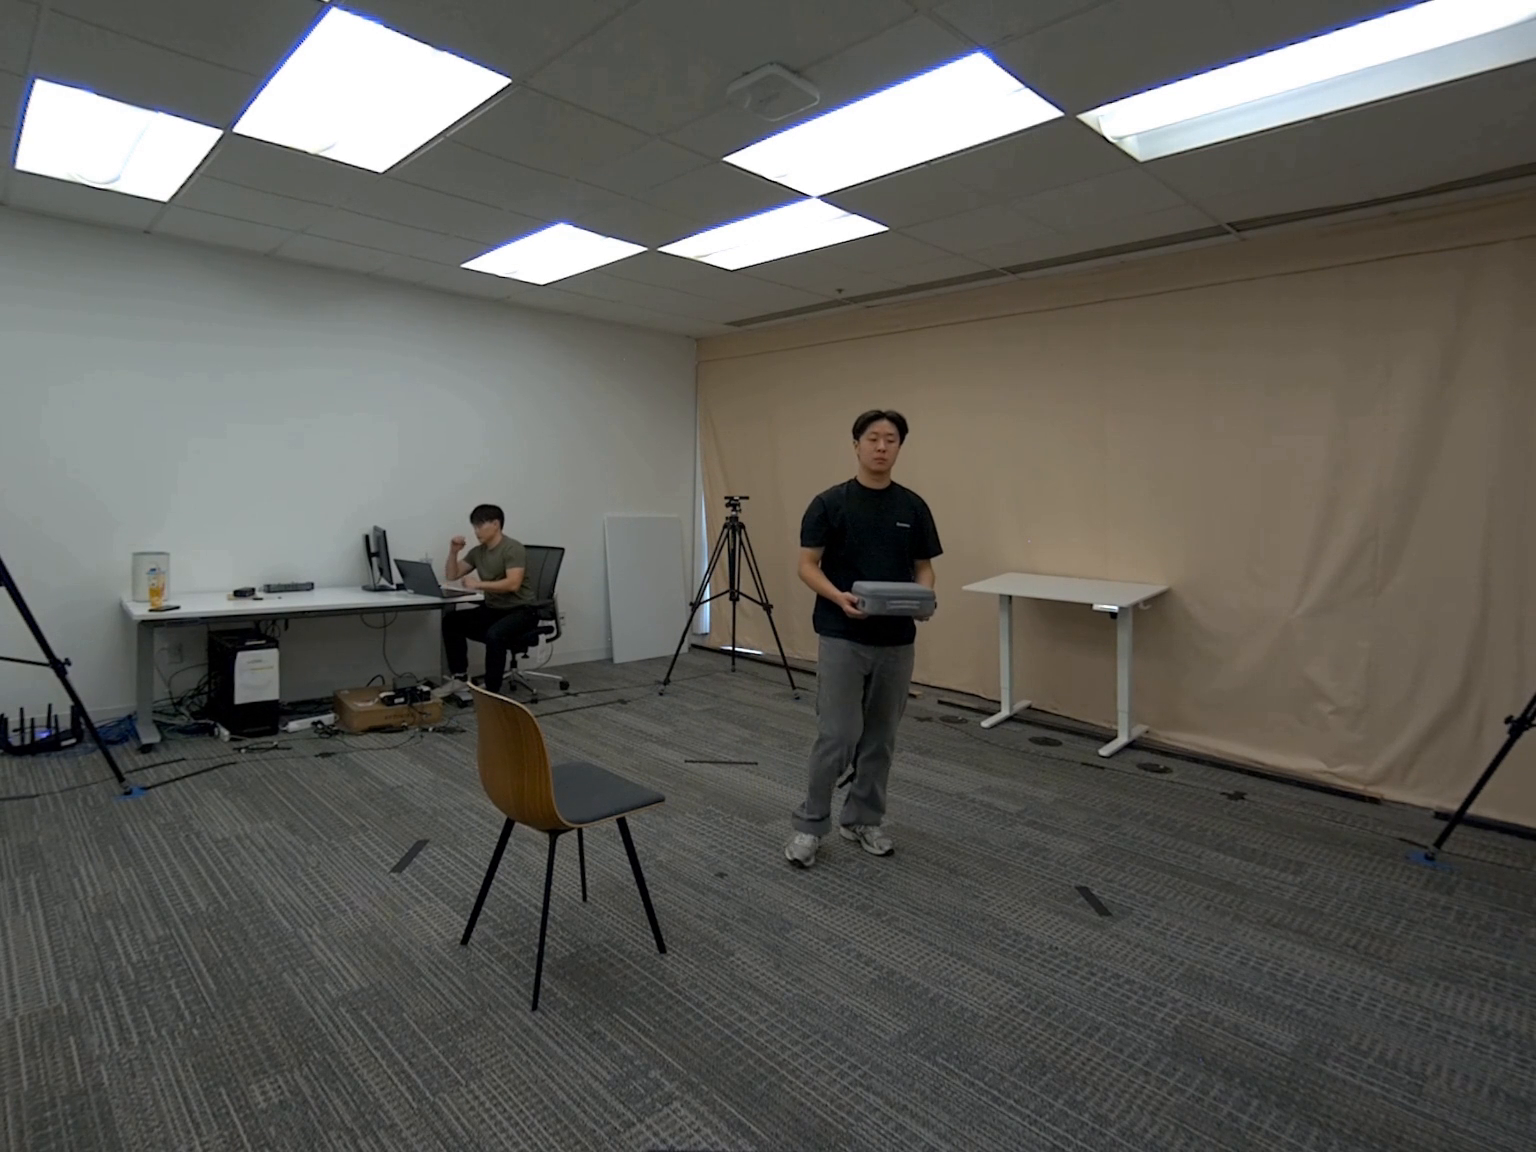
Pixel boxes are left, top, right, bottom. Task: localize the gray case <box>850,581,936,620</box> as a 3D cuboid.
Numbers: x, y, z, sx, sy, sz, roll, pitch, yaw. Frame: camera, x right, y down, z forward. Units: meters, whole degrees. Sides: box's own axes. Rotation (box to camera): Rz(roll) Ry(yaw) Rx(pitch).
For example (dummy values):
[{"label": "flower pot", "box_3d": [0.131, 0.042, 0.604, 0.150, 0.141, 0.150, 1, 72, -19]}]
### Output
[{"label": "gray case", "box_3d": [0.441, 0.082, 3.024, 0.262, 0.103, 0.289, 2, 6, -6]}]
